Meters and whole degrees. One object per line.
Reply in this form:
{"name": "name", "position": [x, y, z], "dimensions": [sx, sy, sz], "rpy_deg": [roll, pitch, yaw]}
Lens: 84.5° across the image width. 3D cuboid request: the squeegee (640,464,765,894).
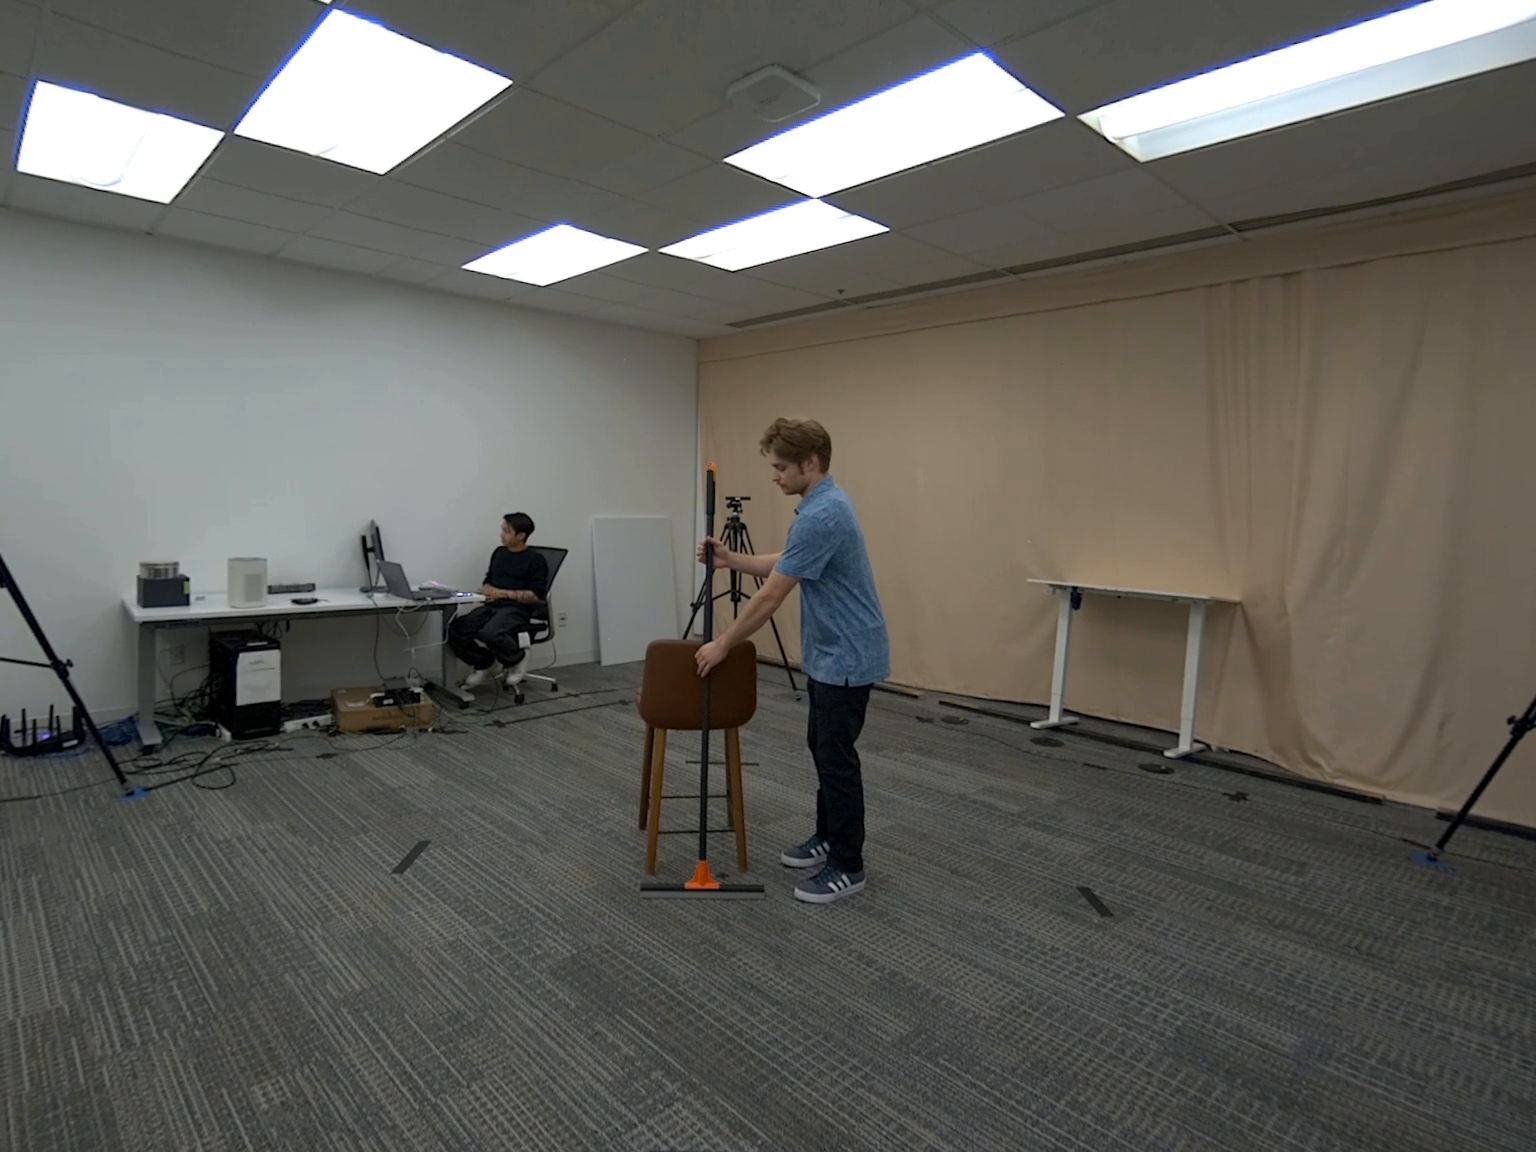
{"name": "squeegee", "position": [-0.226, 0.359, 3.021], "dimensions": [0.437, 1.542, 0.053], "rpy_deg": [0, -4, -1]}
